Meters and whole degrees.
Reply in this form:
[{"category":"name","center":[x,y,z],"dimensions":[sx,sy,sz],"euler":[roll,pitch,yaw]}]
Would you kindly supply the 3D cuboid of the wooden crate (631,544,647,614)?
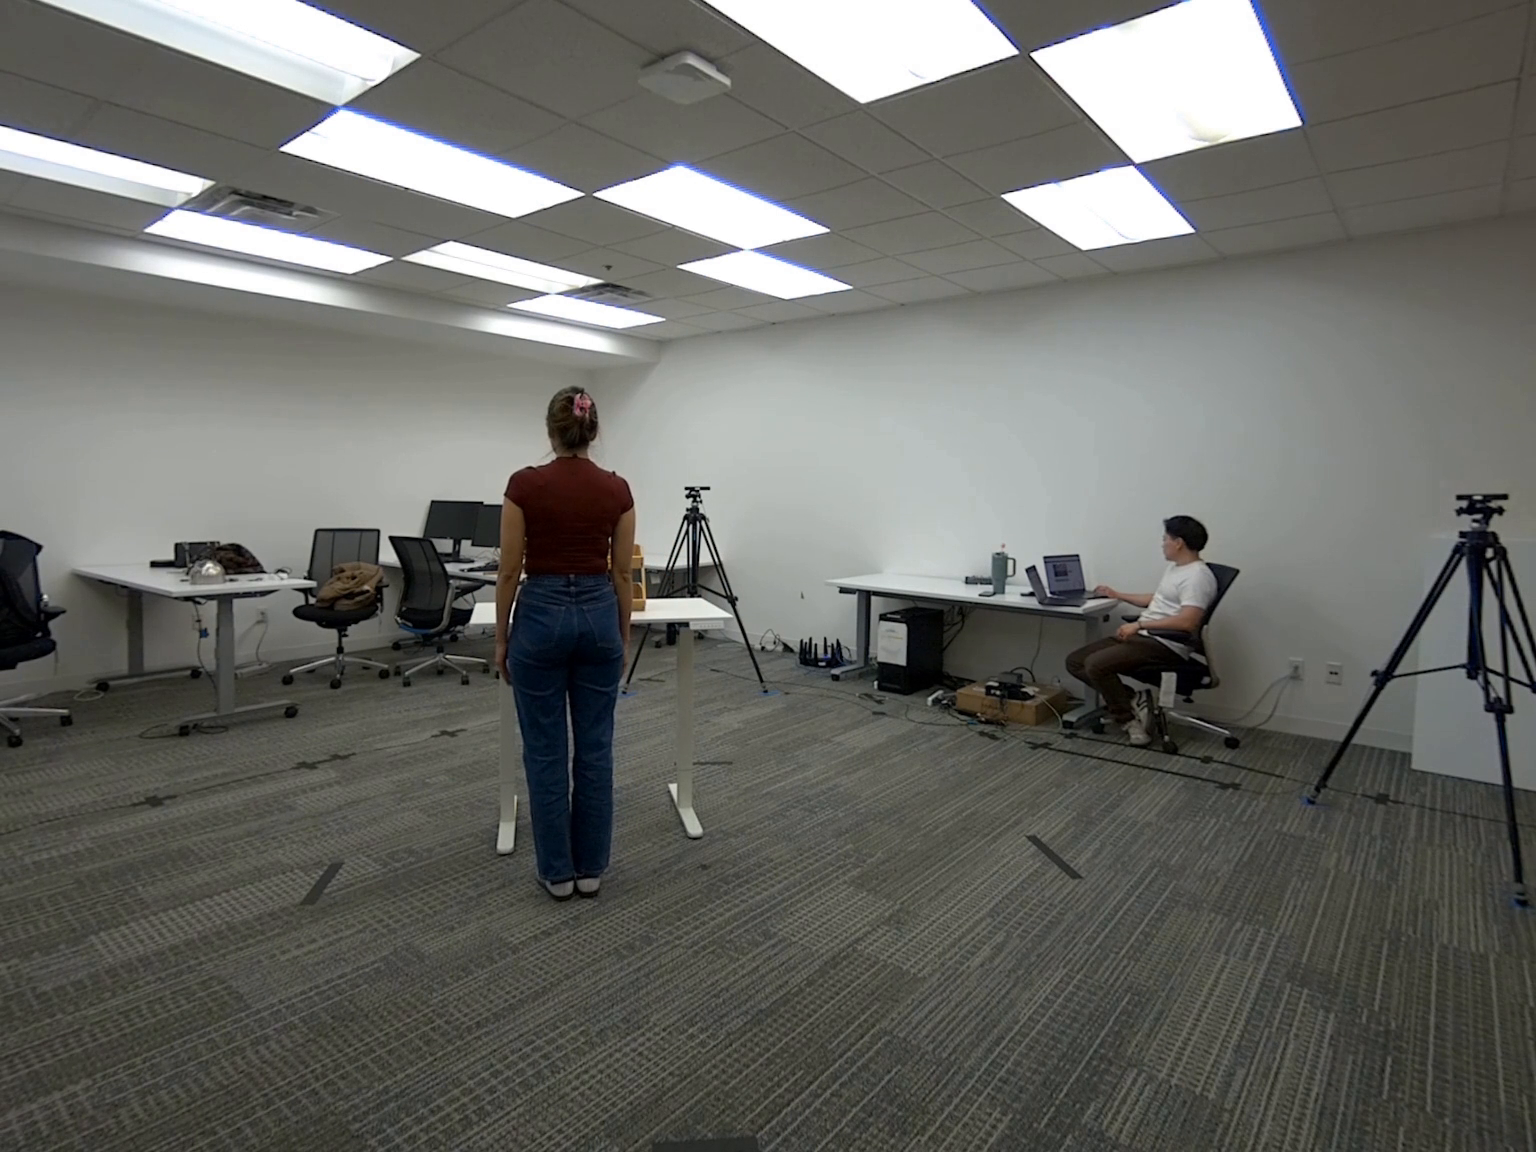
[{"category":"wooden crate","center":[-0.688,-0.001,3.585],"dimensions":[0.320,0.273,0.307],"euler":[0,3,-12]}]
